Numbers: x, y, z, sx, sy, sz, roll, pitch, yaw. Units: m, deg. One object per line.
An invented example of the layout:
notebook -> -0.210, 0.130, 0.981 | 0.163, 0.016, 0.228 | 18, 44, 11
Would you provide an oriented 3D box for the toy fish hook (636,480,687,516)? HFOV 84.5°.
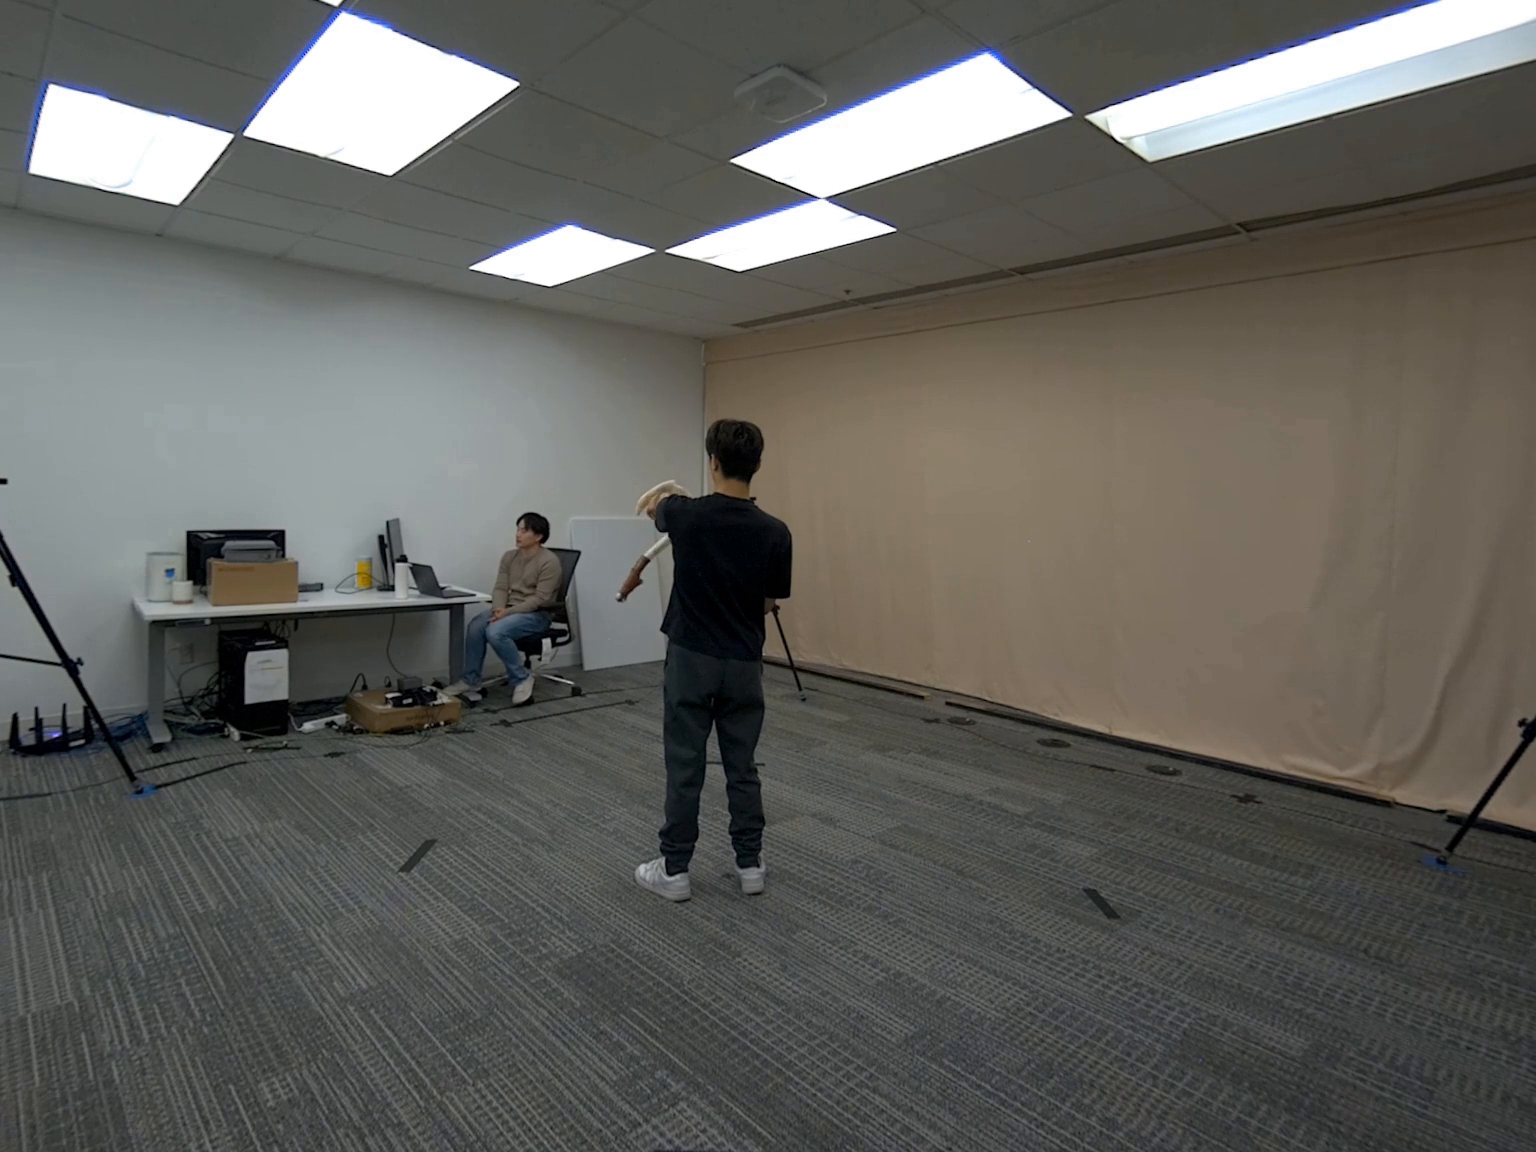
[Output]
toy fish hook -> -0.474, -0.137, 3.257 | 0.220, 0.508, 0.049 | 36, -12, -21
